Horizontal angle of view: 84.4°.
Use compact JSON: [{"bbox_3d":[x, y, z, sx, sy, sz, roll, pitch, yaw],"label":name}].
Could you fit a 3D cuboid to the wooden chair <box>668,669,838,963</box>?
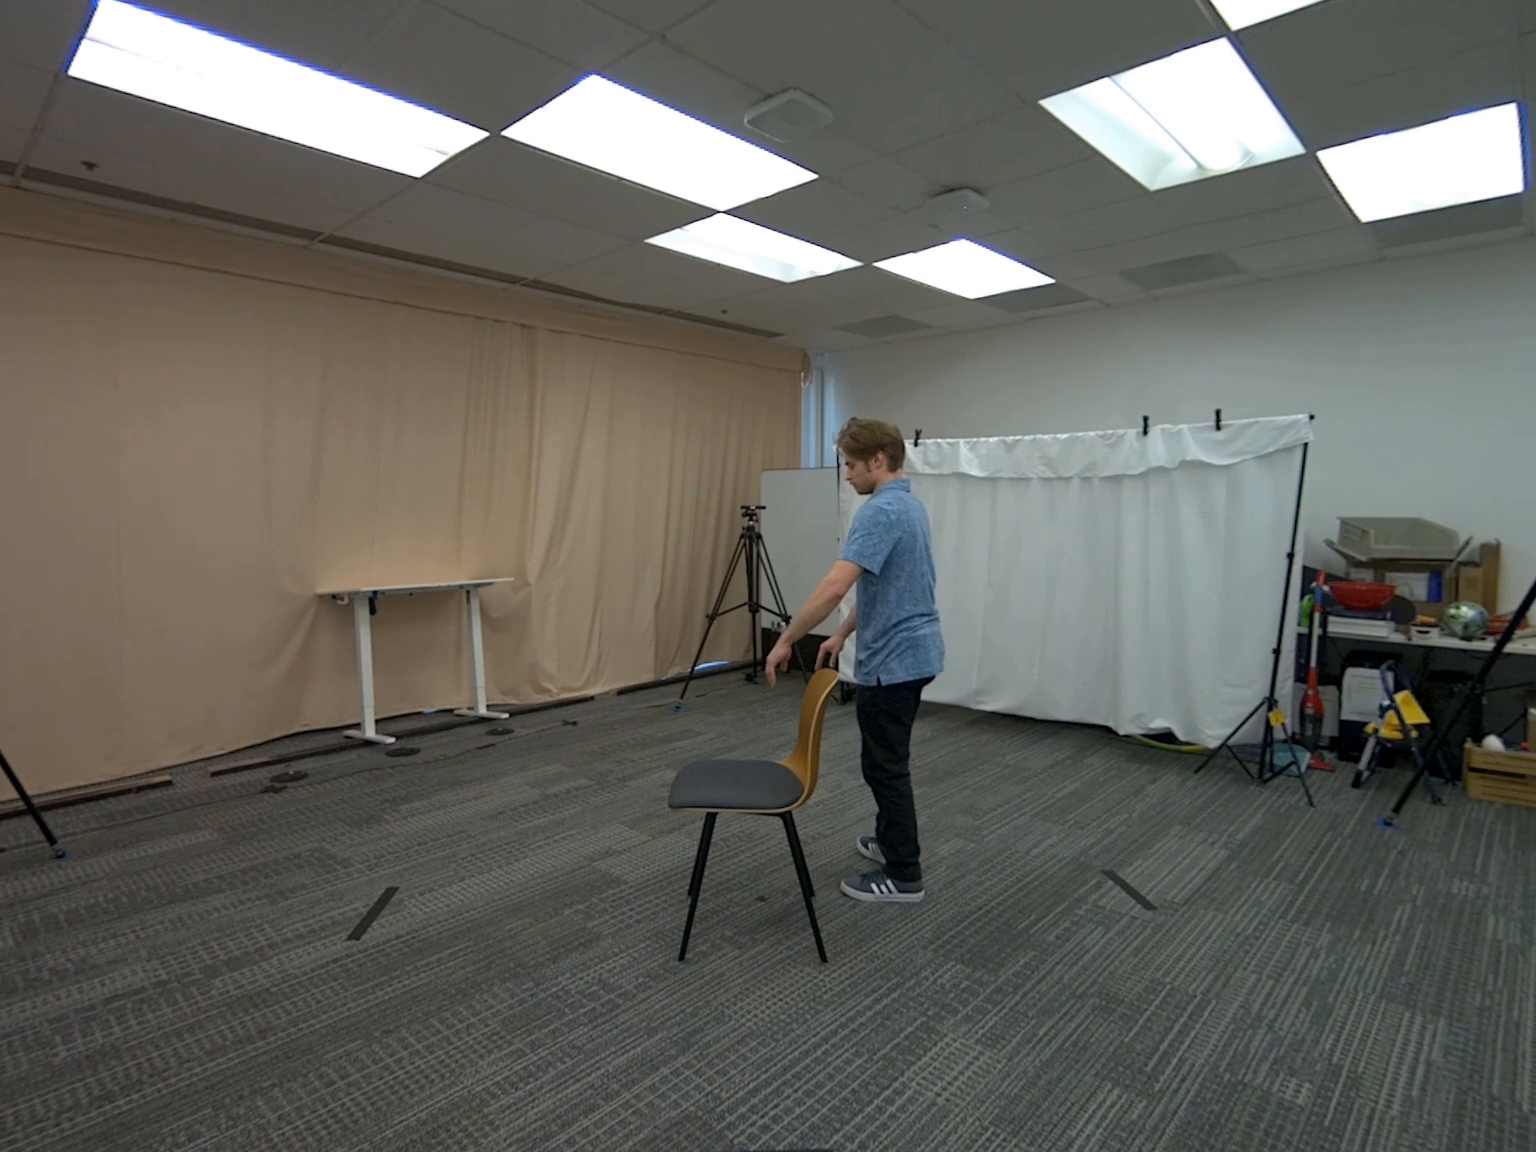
[{"bbox_3d":[-0.059,0.739,2.757,0.523,0.875,0.479,4,4,-1],"label":"wooden chair"}]
